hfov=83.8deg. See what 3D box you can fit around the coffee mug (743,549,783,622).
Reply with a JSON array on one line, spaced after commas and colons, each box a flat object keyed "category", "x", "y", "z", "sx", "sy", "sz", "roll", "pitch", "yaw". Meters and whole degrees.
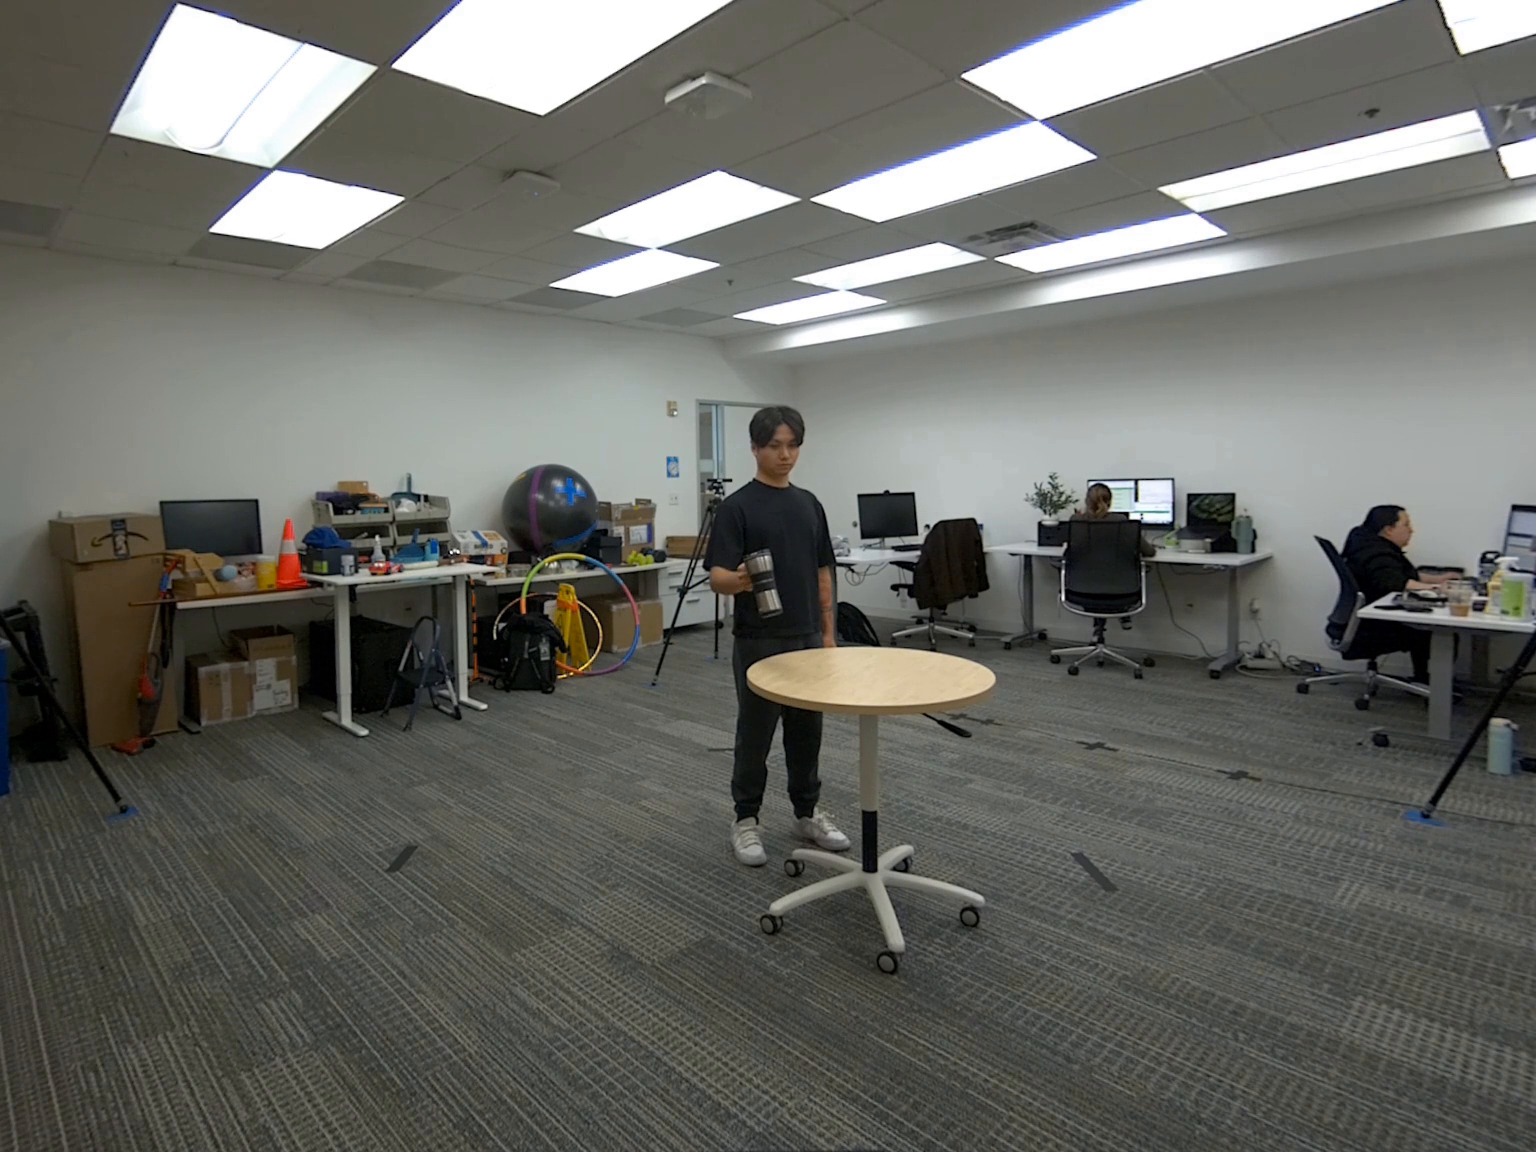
[{"category": "coffee mug", "x": -0.001, "y": 0.024, "z": 2.664, "sx": 0.089, "sy": 0.205, "sz": 0.119, "roll": -24, "pitch": -12, "yaw": 38}]
